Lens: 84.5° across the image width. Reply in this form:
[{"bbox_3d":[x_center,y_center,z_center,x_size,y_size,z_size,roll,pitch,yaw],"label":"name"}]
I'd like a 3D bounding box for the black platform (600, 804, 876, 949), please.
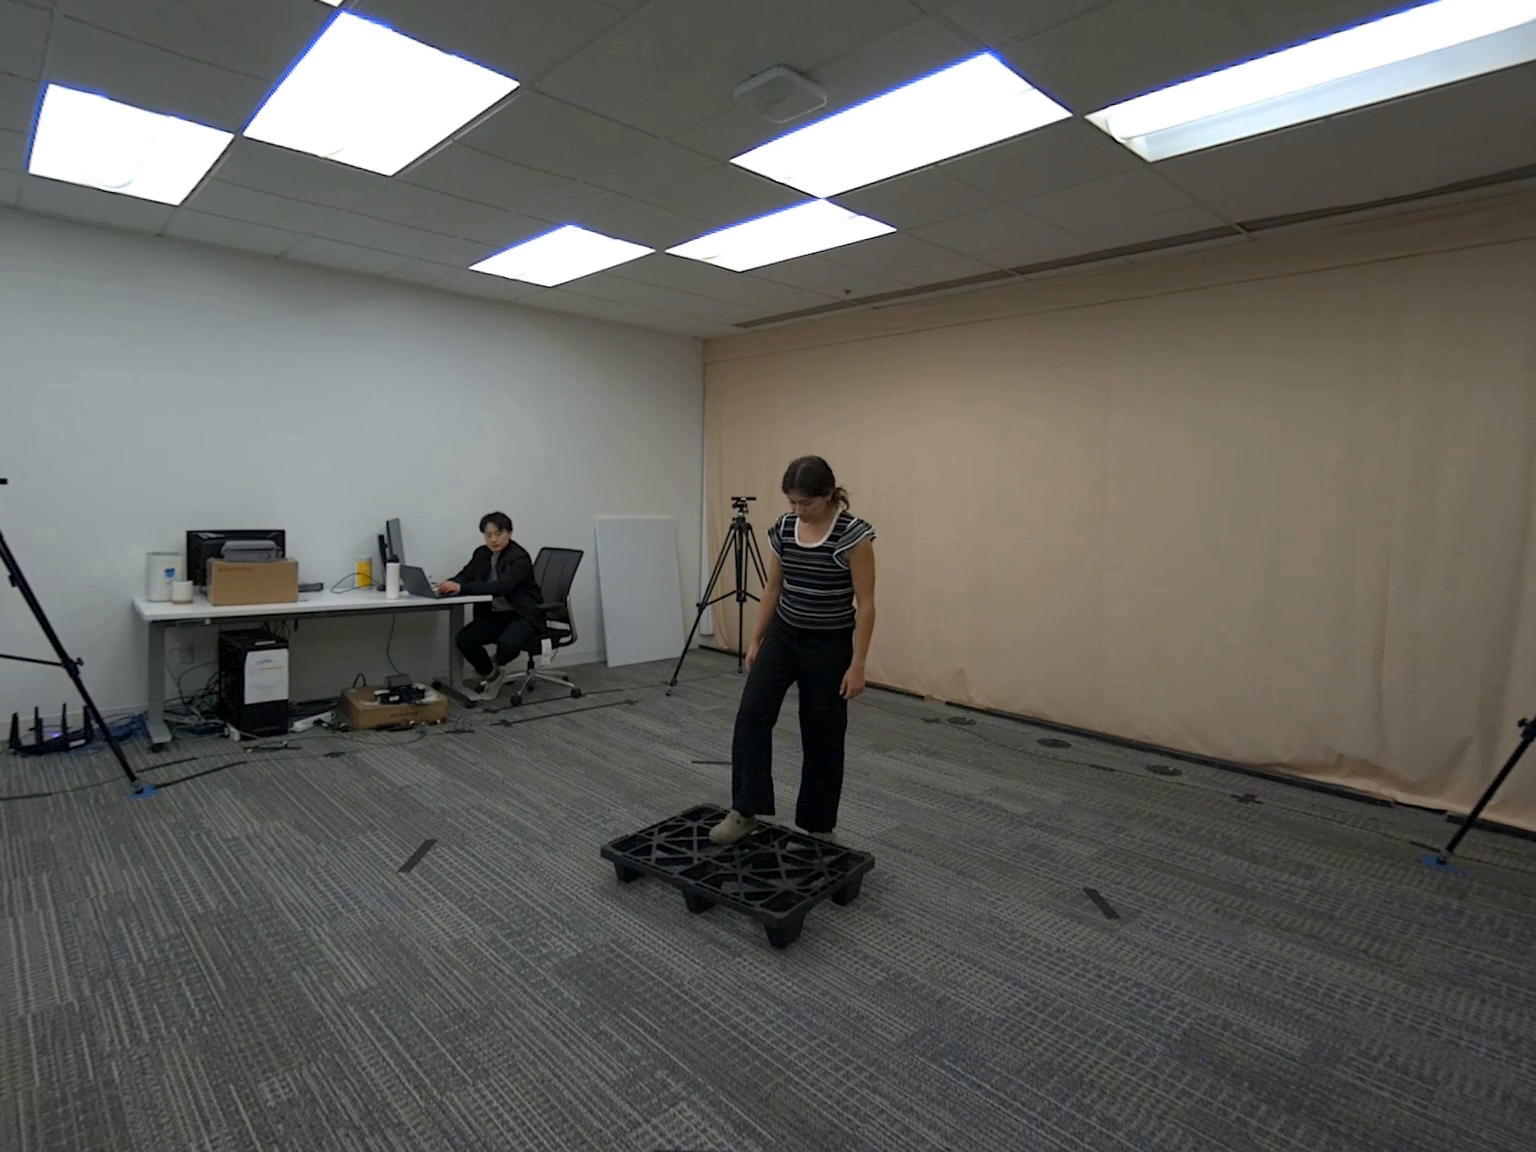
[{"bbox_3d":[-0.120,1.048,3.000,0.825,0.143,0.592,5,7,37],"label":"black platform"}]
